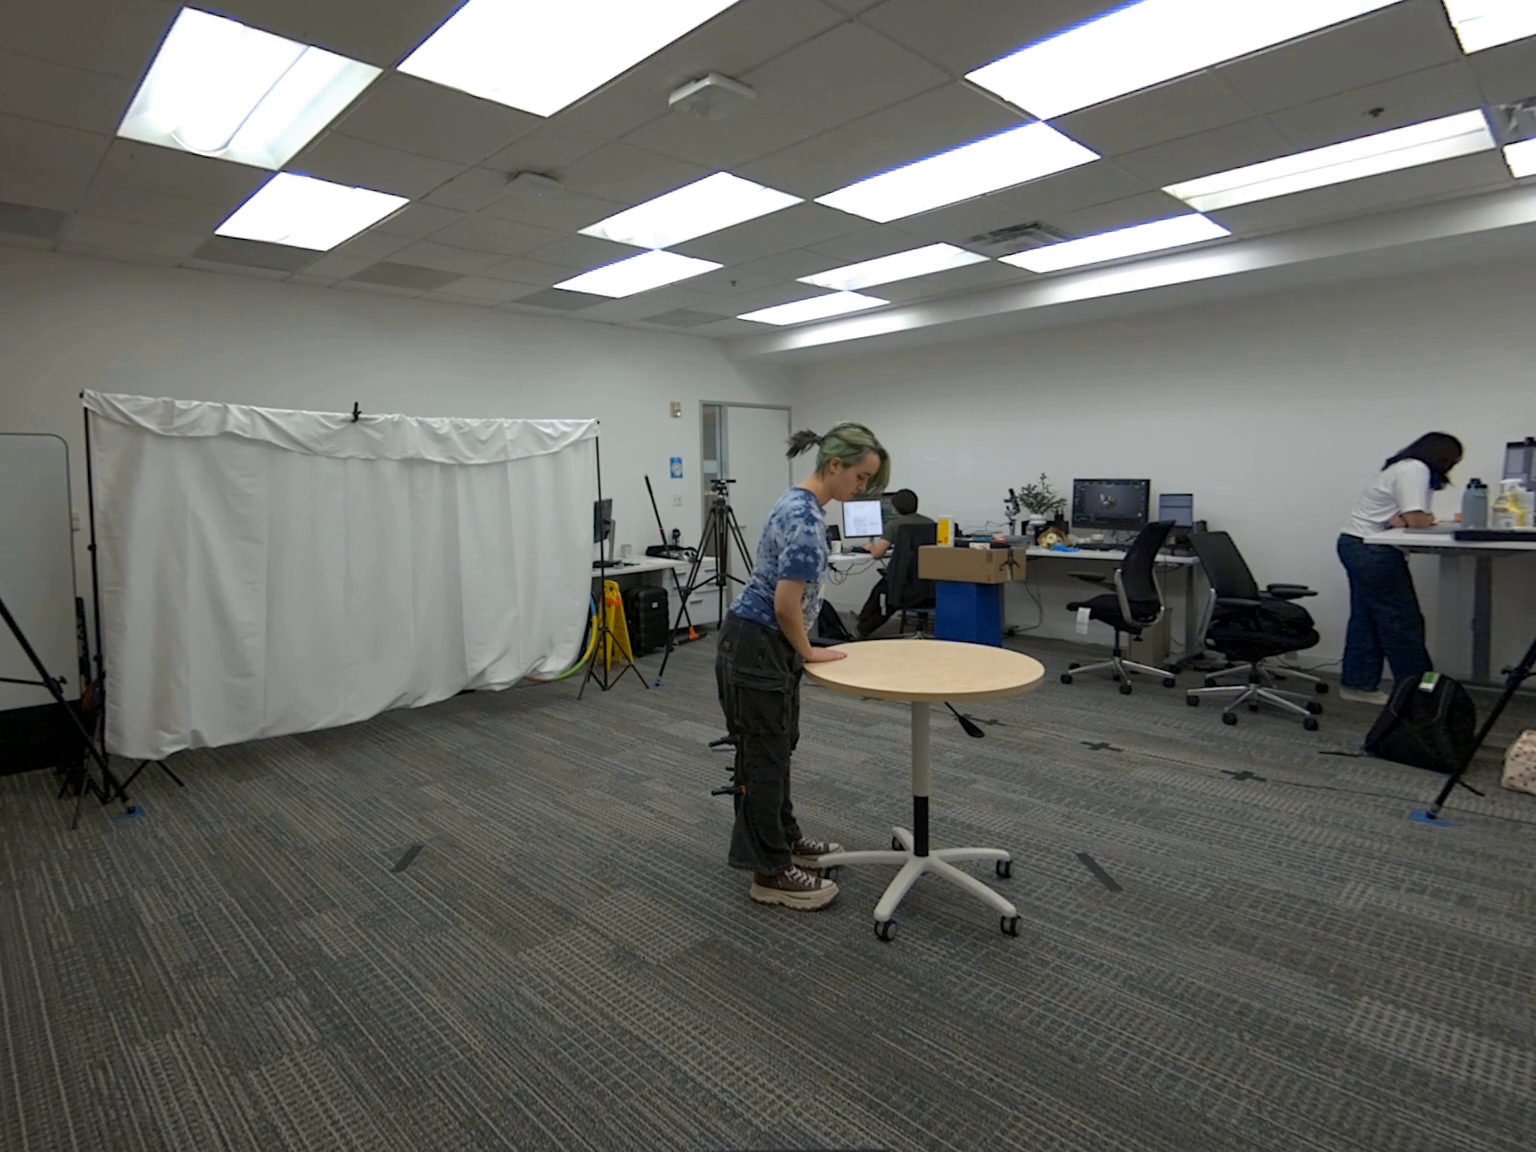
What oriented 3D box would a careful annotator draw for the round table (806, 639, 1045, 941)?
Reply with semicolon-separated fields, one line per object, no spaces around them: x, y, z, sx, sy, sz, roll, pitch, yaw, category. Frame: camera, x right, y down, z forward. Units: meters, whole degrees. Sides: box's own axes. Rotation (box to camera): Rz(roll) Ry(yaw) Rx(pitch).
0.495;0.674;2.817;0.784;0.783;0.789;-1;5;-2;round table
